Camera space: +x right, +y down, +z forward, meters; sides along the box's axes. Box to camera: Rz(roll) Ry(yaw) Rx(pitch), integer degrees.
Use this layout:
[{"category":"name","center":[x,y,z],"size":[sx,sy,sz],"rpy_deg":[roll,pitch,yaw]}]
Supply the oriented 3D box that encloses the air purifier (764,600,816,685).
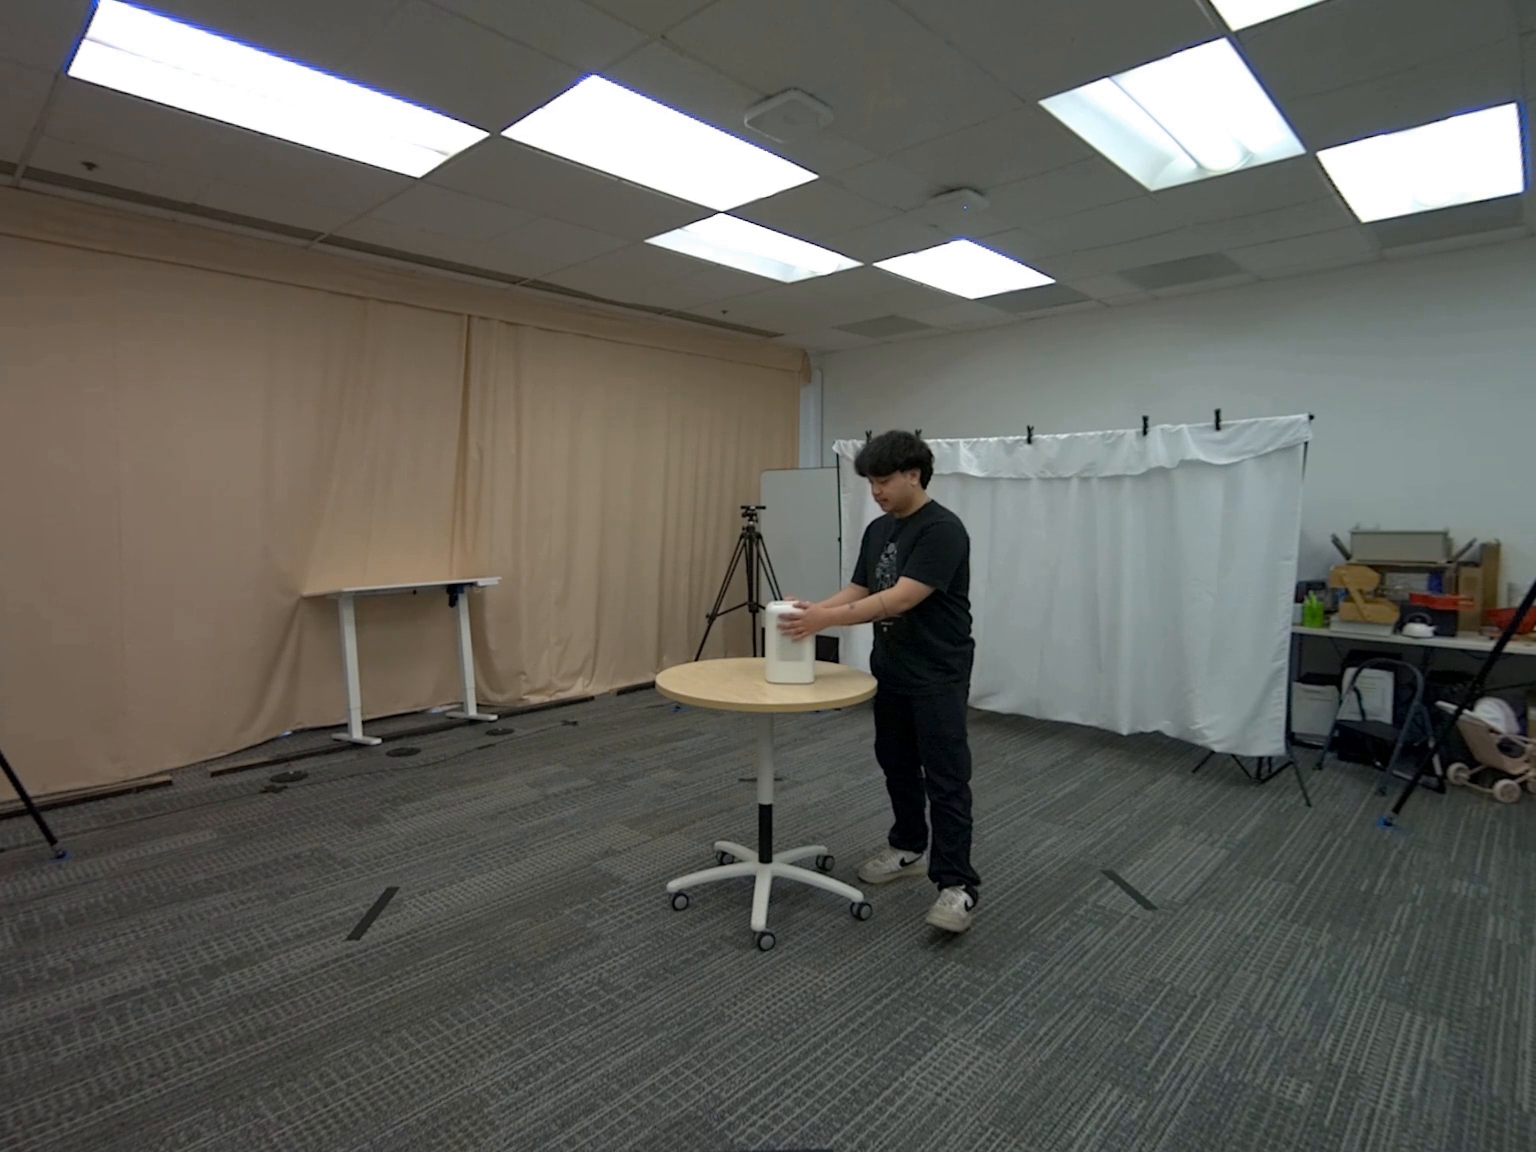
[{"category":"air purifier","center":[0.084,0.229,2.904],"size":[0.172,0.265,0.171],"rpy_deg":[-1,4,1]}]
